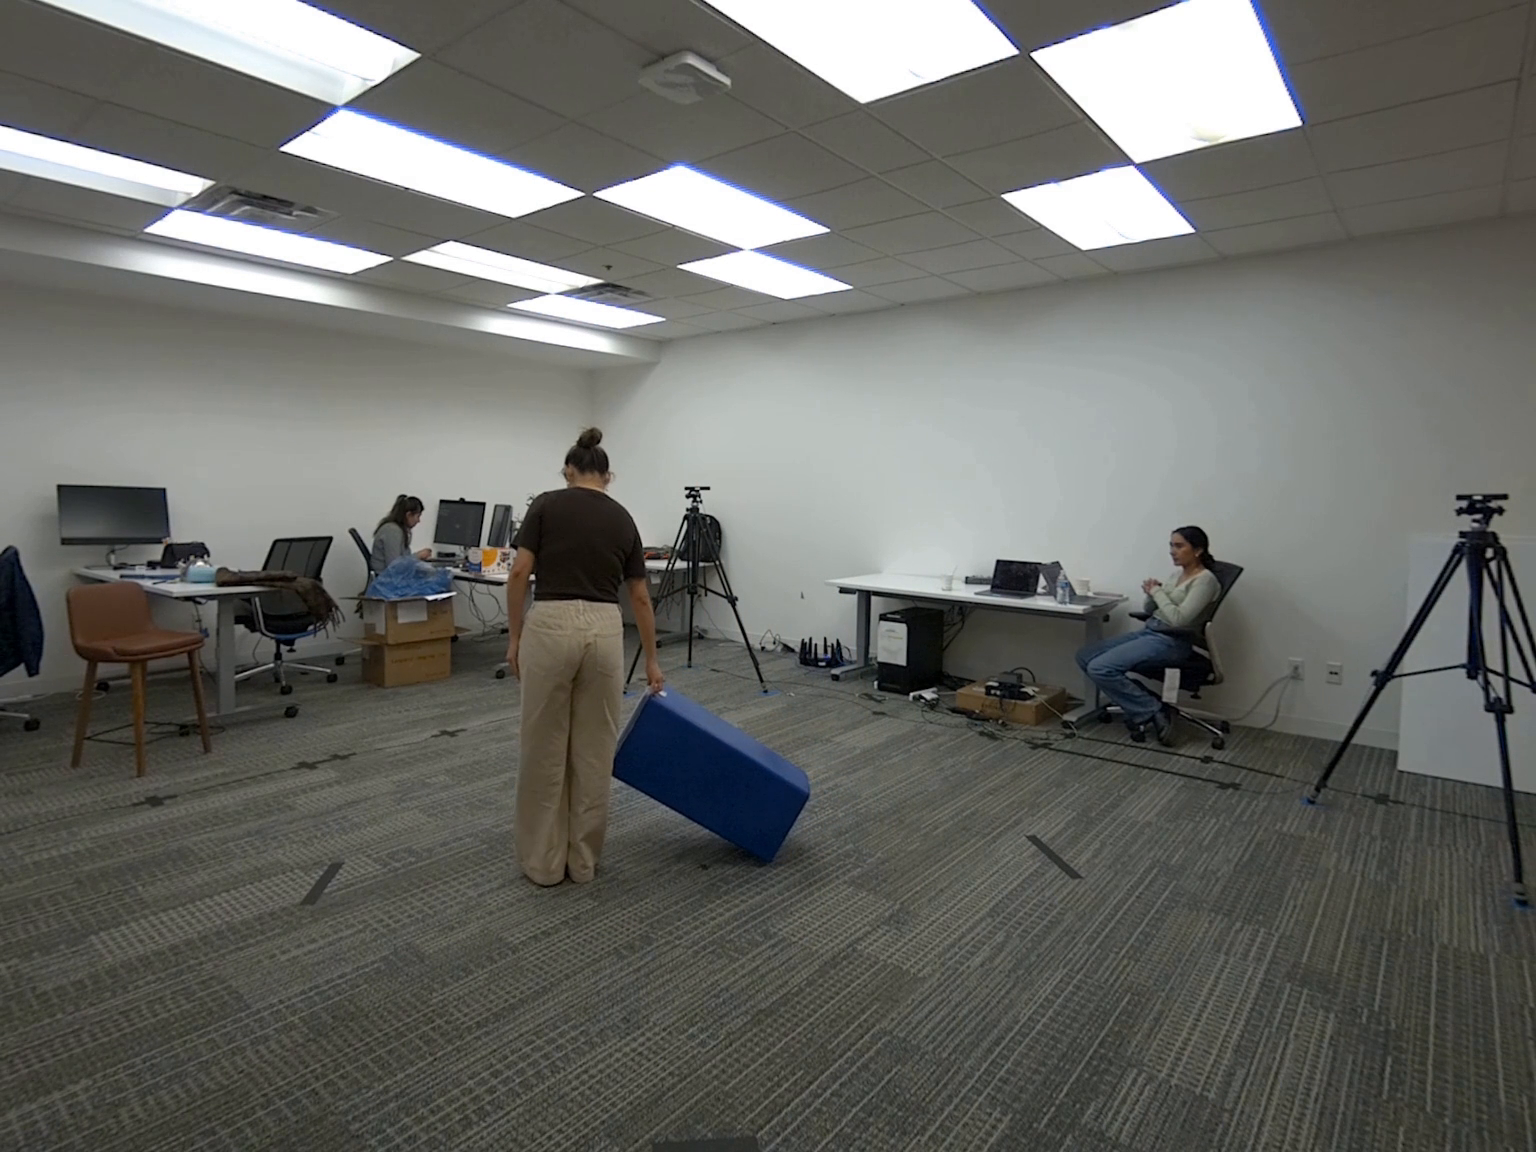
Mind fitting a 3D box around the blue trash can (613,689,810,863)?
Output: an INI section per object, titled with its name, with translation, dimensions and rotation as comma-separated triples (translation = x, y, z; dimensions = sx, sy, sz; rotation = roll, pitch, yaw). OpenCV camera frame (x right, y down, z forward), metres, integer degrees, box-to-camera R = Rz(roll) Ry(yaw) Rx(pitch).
[blue trash can]
translation = -0.240, 0.741, 3.281
dimensions = 0.715, 0.374, 0.377
rotation = 31, 1, 1
